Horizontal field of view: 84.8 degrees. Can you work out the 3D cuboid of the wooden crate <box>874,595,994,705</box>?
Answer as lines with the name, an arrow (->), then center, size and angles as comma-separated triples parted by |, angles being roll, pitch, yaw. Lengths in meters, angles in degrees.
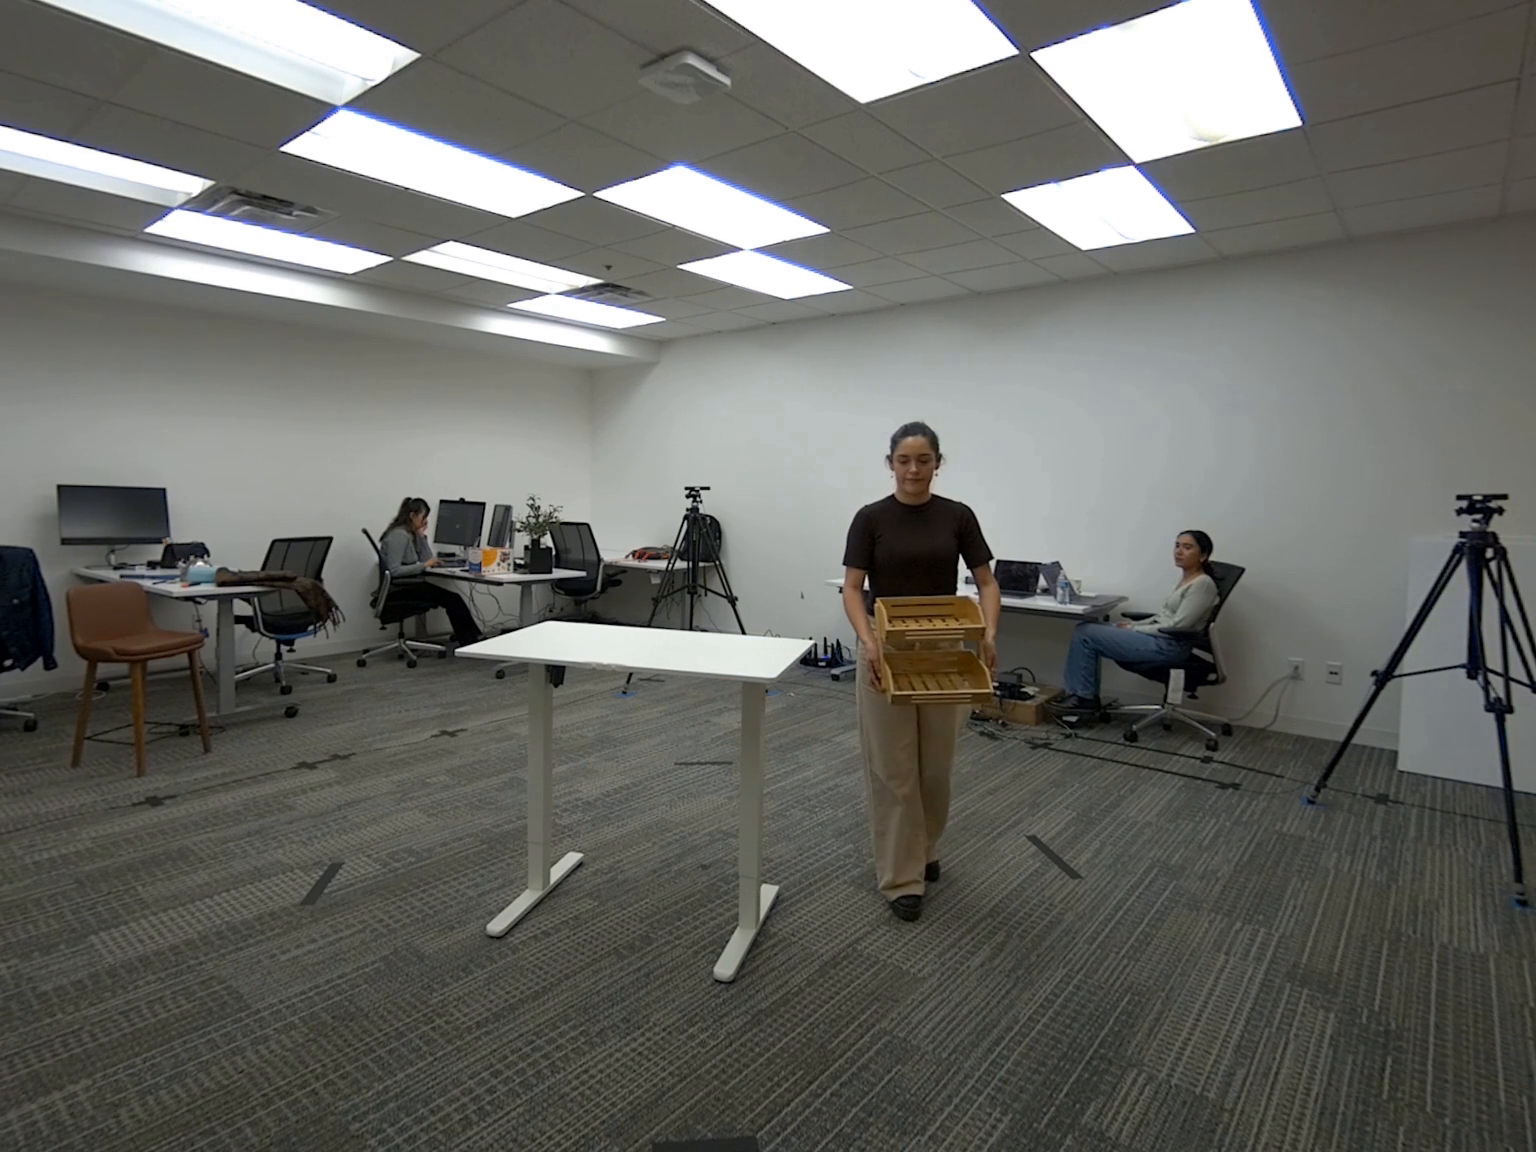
wooden crate -> 0.516, 0.219, 2.649 | 0.325, 0.270, 0.305 | -1, 11, 0
